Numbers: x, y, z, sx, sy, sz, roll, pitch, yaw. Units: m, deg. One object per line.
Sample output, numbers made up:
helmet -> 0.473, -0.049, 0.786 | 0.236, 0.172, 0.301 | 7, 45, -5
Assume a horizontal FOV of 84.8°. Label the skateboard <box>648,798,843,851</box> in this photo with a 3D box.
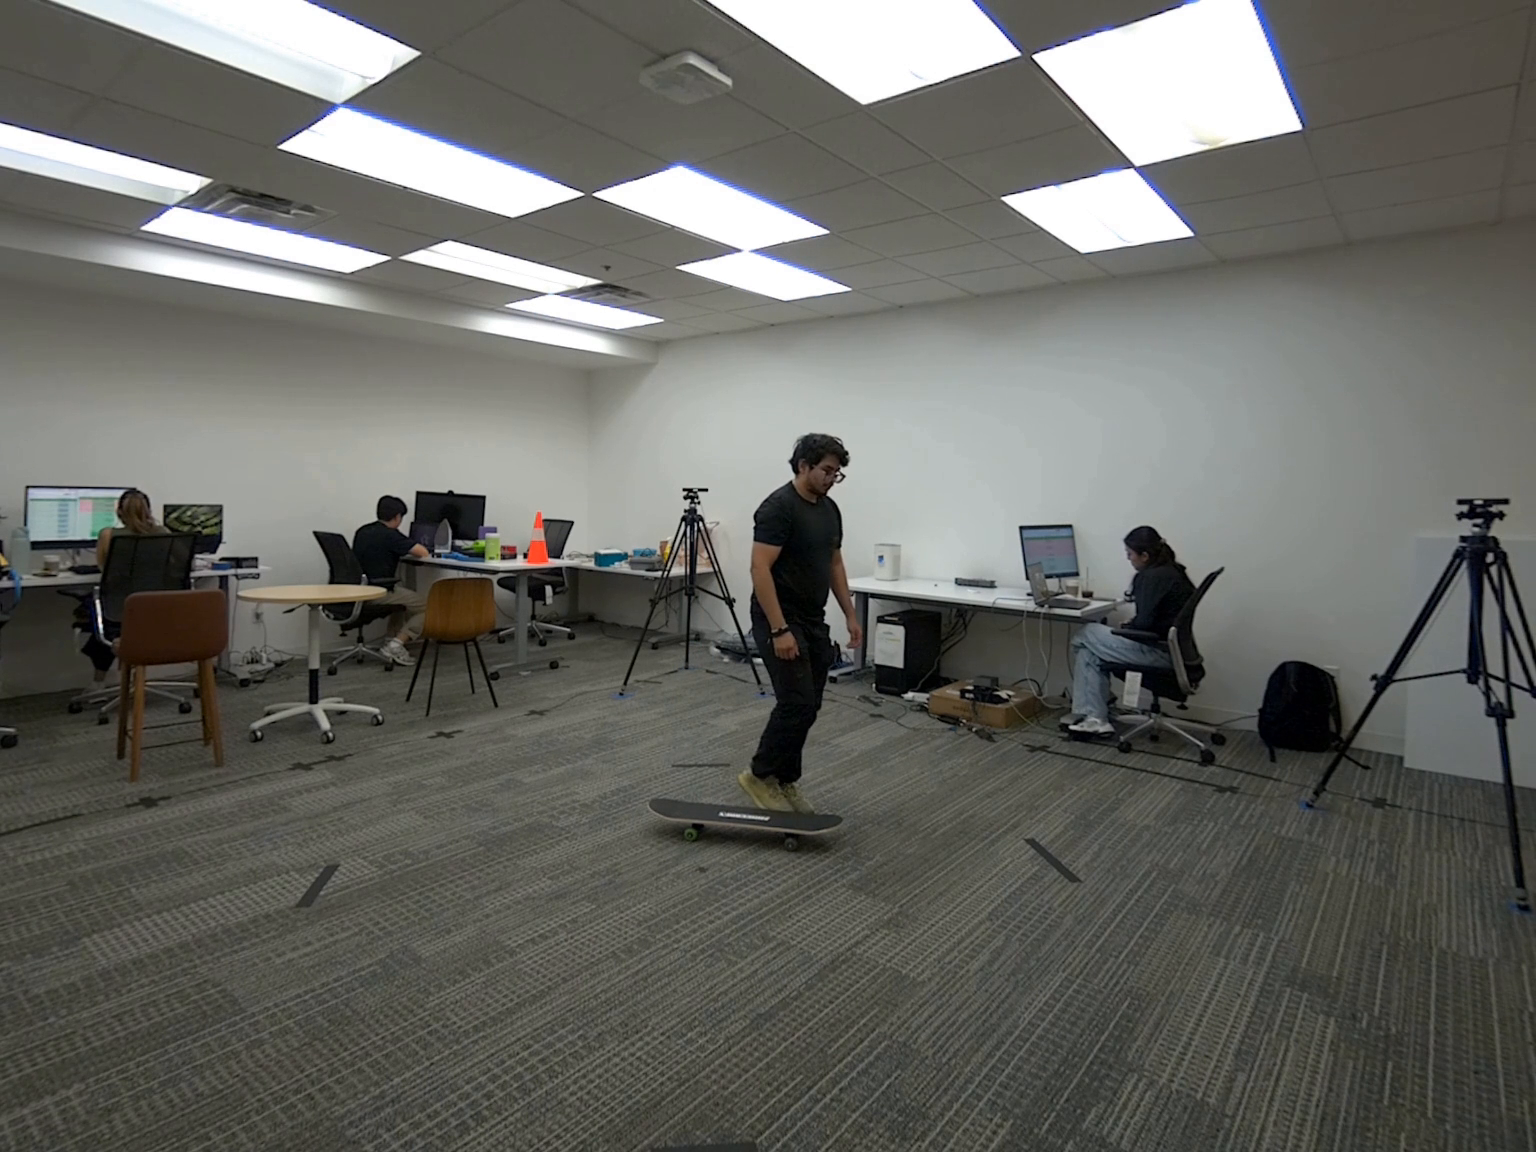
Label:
skateboard -> -0.103, 0.985, 3.393 | 0.795, 0.110, 0.192 | 2, 5, 11
